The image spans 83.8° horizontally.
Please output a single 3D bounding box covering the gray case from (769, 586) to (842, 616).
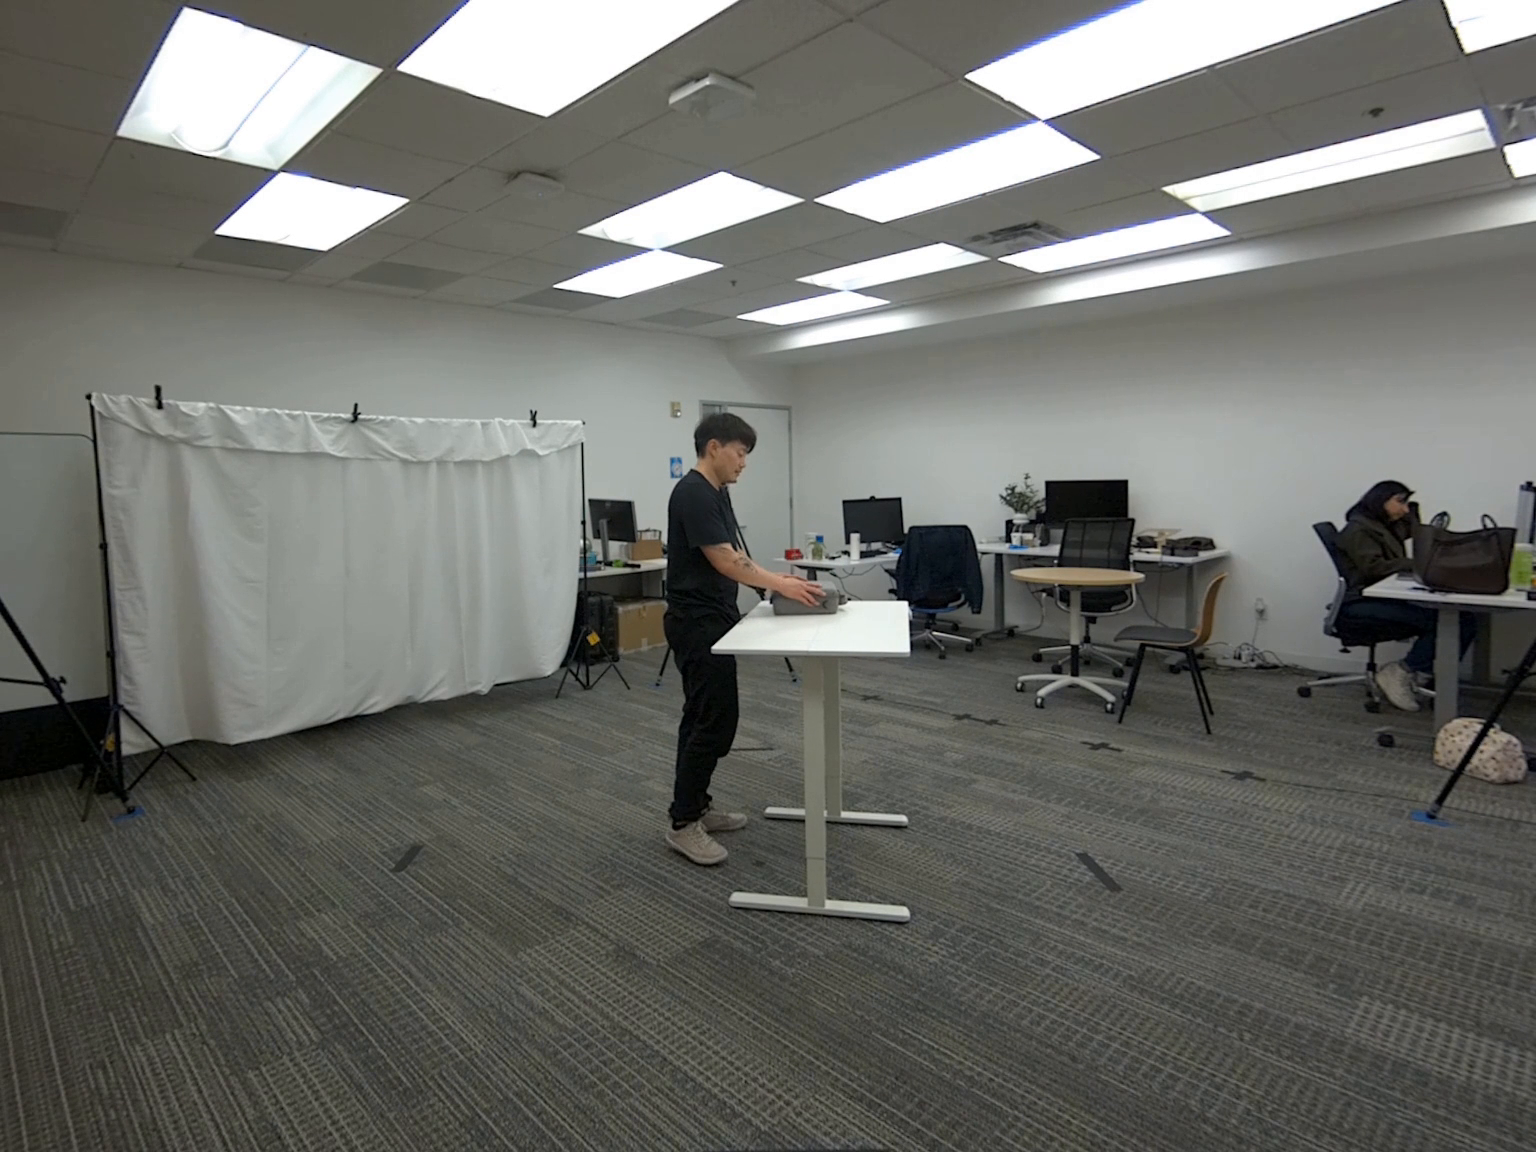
[{"bbox_3d":[0.151,0.090,3.334,0.261,0.104,0.257,-1,2,0],"label":"gray case"}]
